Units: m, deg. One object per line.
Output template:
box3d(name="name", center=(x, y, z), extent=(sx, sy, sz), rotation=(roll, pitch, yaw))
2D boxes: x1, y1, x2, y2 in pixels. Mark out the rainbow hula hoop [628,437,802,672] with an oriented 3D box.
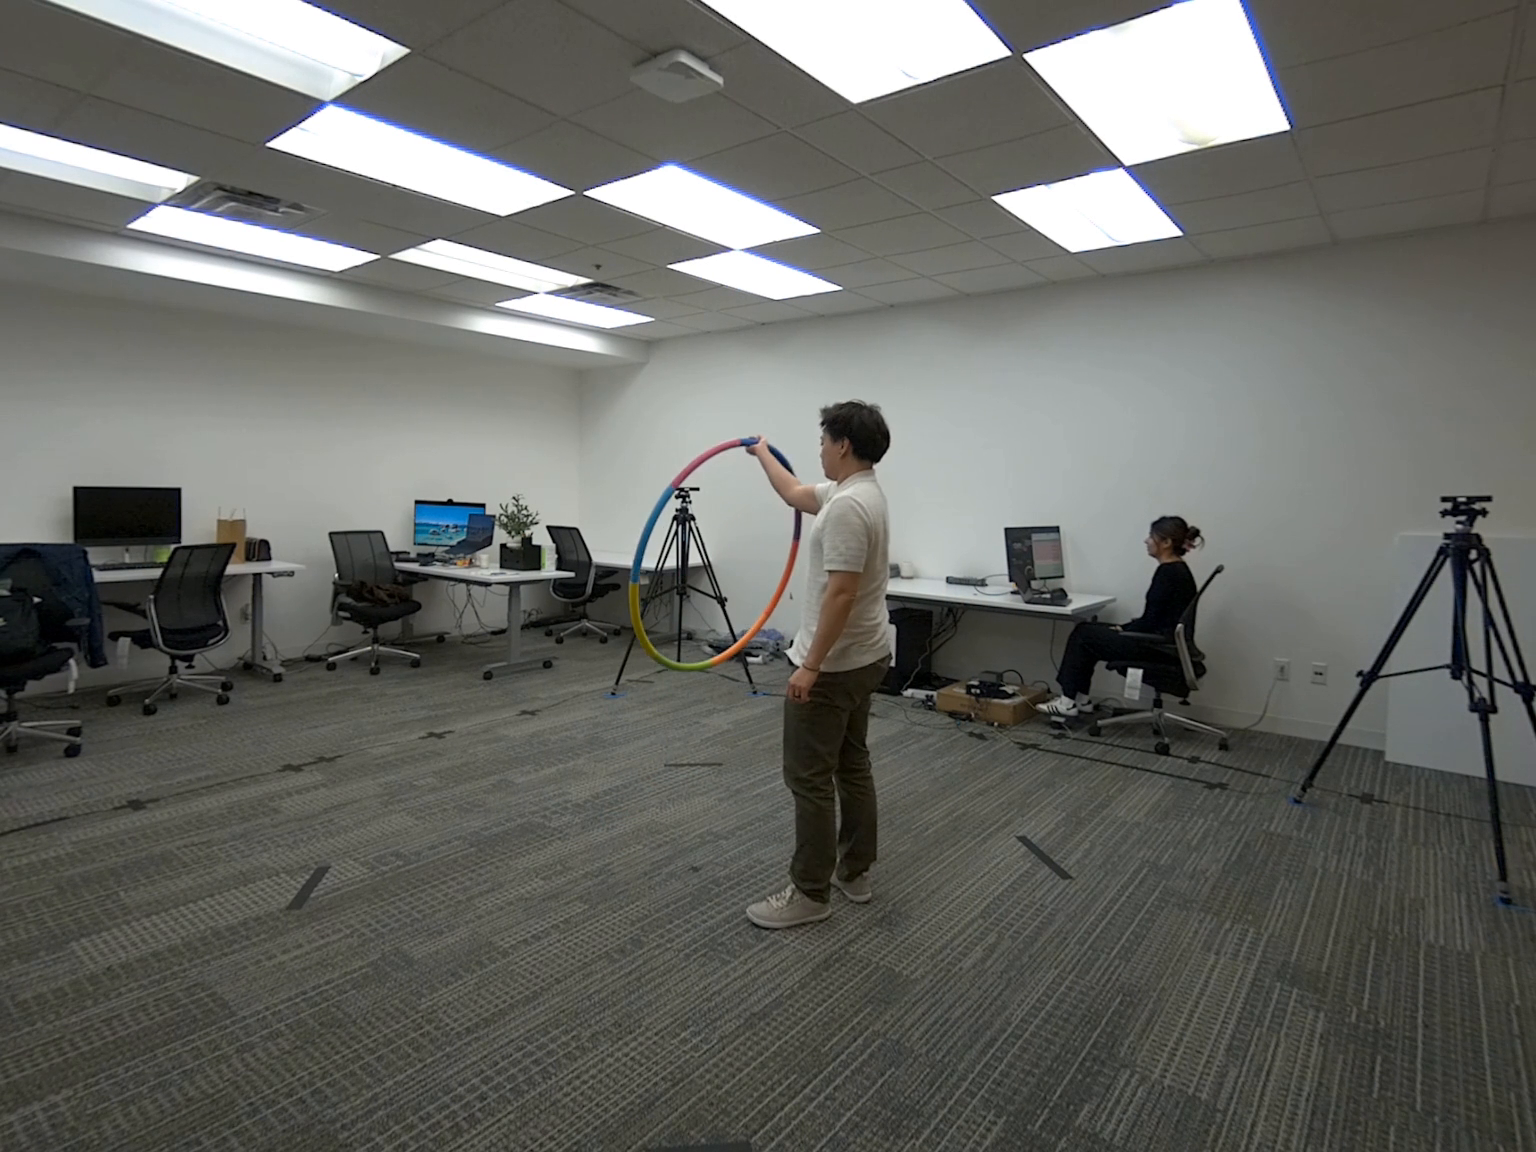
box3d(name="rainbow hula hoop", center=(-0.186, -0.073, 3.436), extent=(0.037, 0.969, 0.950), rotation=(23, 17, 37))
